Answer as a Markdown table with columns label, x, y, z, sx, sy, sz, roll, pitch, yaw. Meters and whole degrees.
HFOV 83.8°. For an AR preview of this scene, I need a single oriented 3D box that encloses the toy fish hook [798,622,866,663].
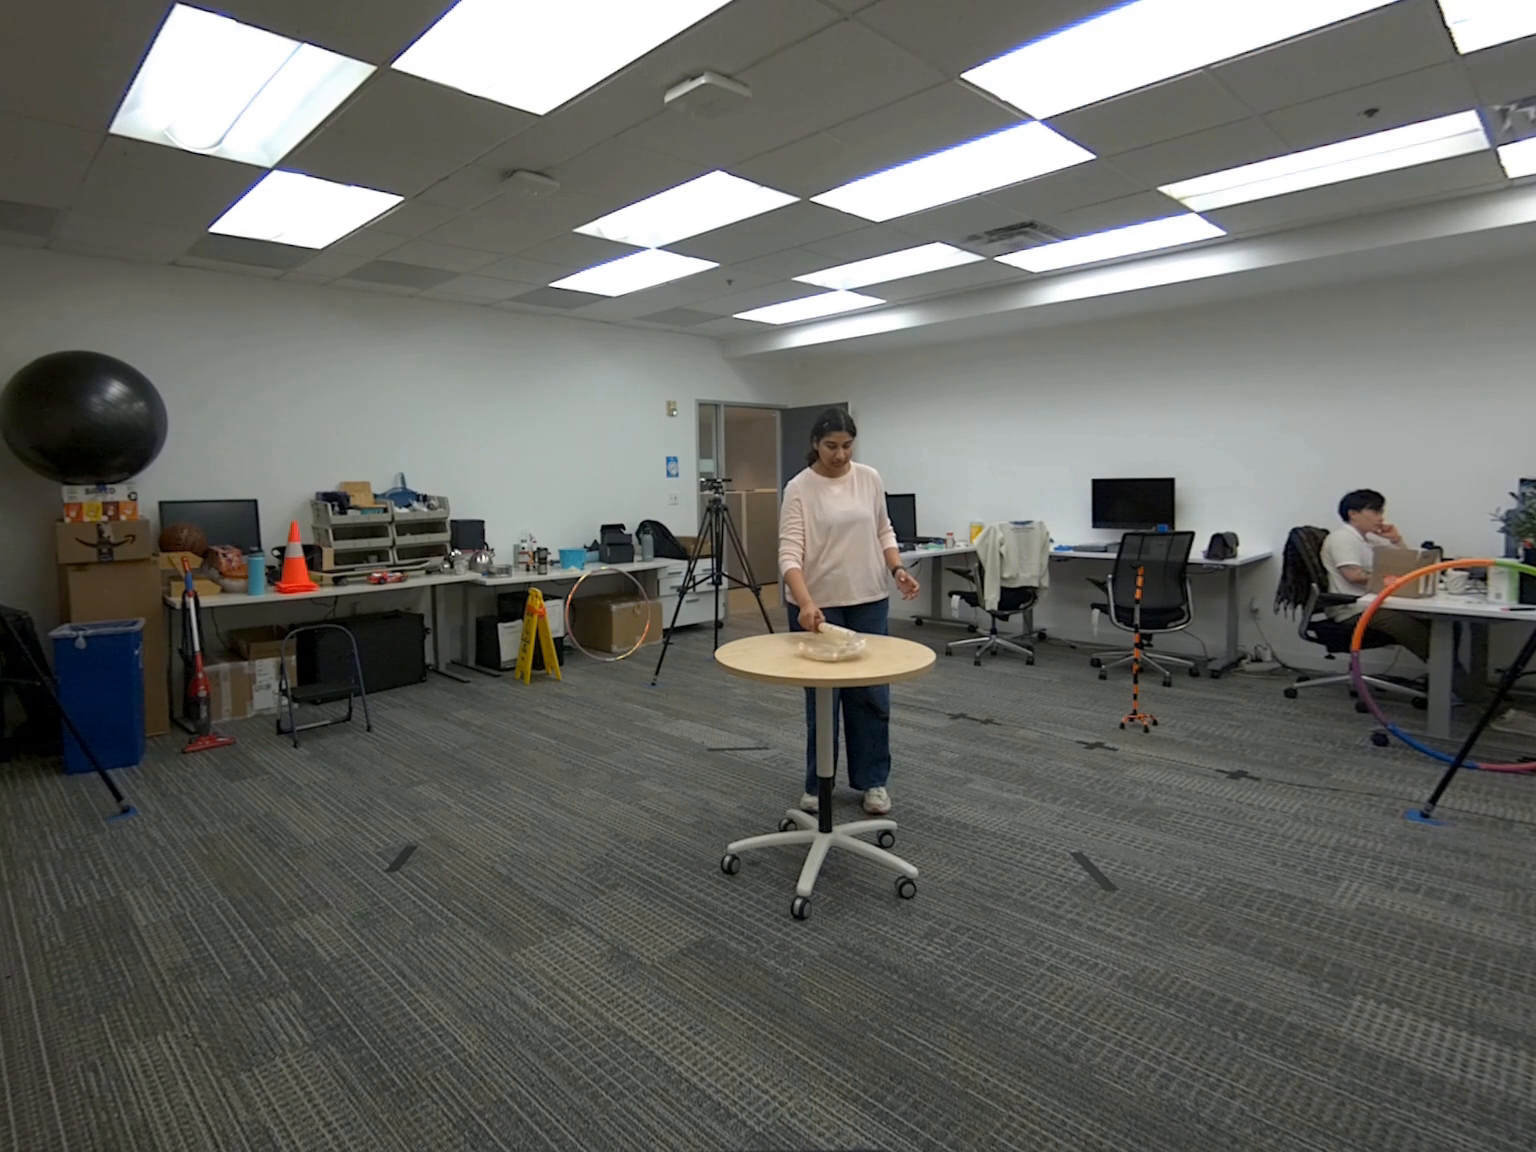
| label | x | y | z | sx | sy | sz | roll | pitch | yaw |
| --- | --- | --- | --- | --- | --- | --- | --- | --- | --- |
| toy fish hook | 0.173 | 0.215 | 3.069 | 0.222 | 0.048 | 0.519 | -10 | 14 | -16 |
